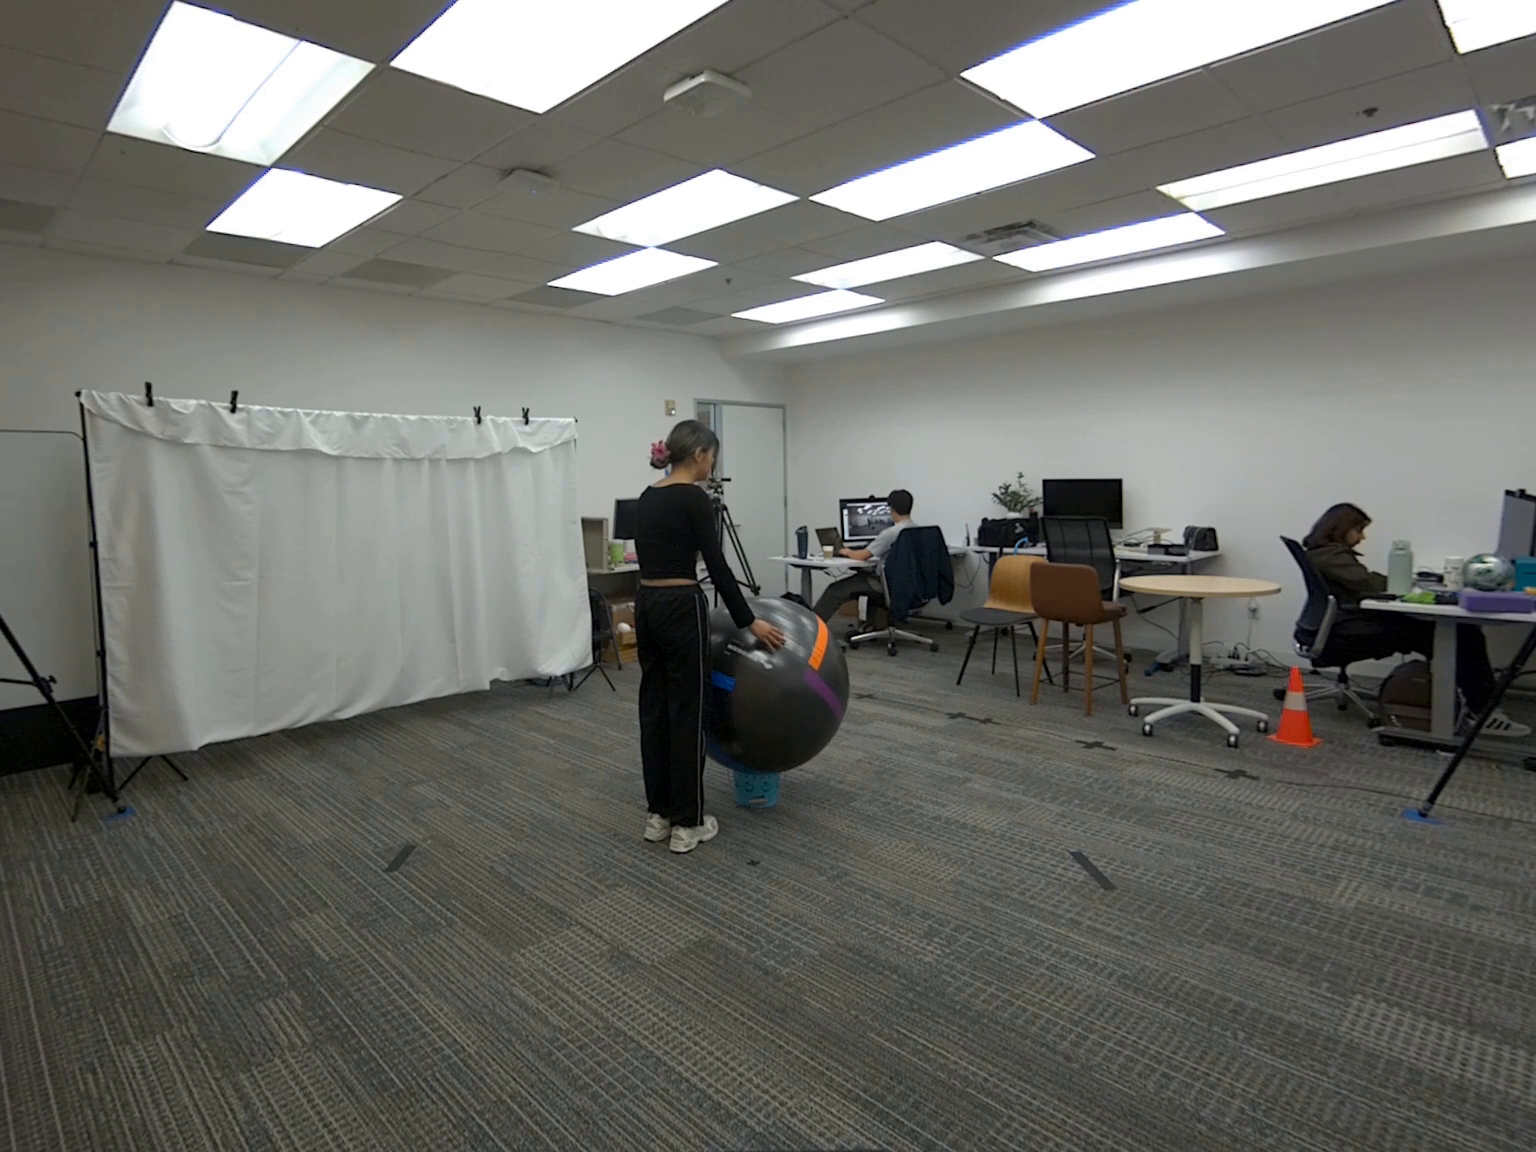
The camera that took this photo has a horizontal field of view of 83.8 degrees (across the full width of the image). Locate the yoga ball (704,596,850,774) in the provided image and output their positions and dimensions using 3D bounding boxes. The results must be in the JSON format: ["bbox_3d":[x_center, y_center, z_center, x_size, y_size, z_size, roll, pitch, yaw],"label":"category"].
[{"bbox_3d":[-0.030,0.466,3.678,0.757,0.755,0.762,-1,5,-2],"label":"yoga ball"}]
